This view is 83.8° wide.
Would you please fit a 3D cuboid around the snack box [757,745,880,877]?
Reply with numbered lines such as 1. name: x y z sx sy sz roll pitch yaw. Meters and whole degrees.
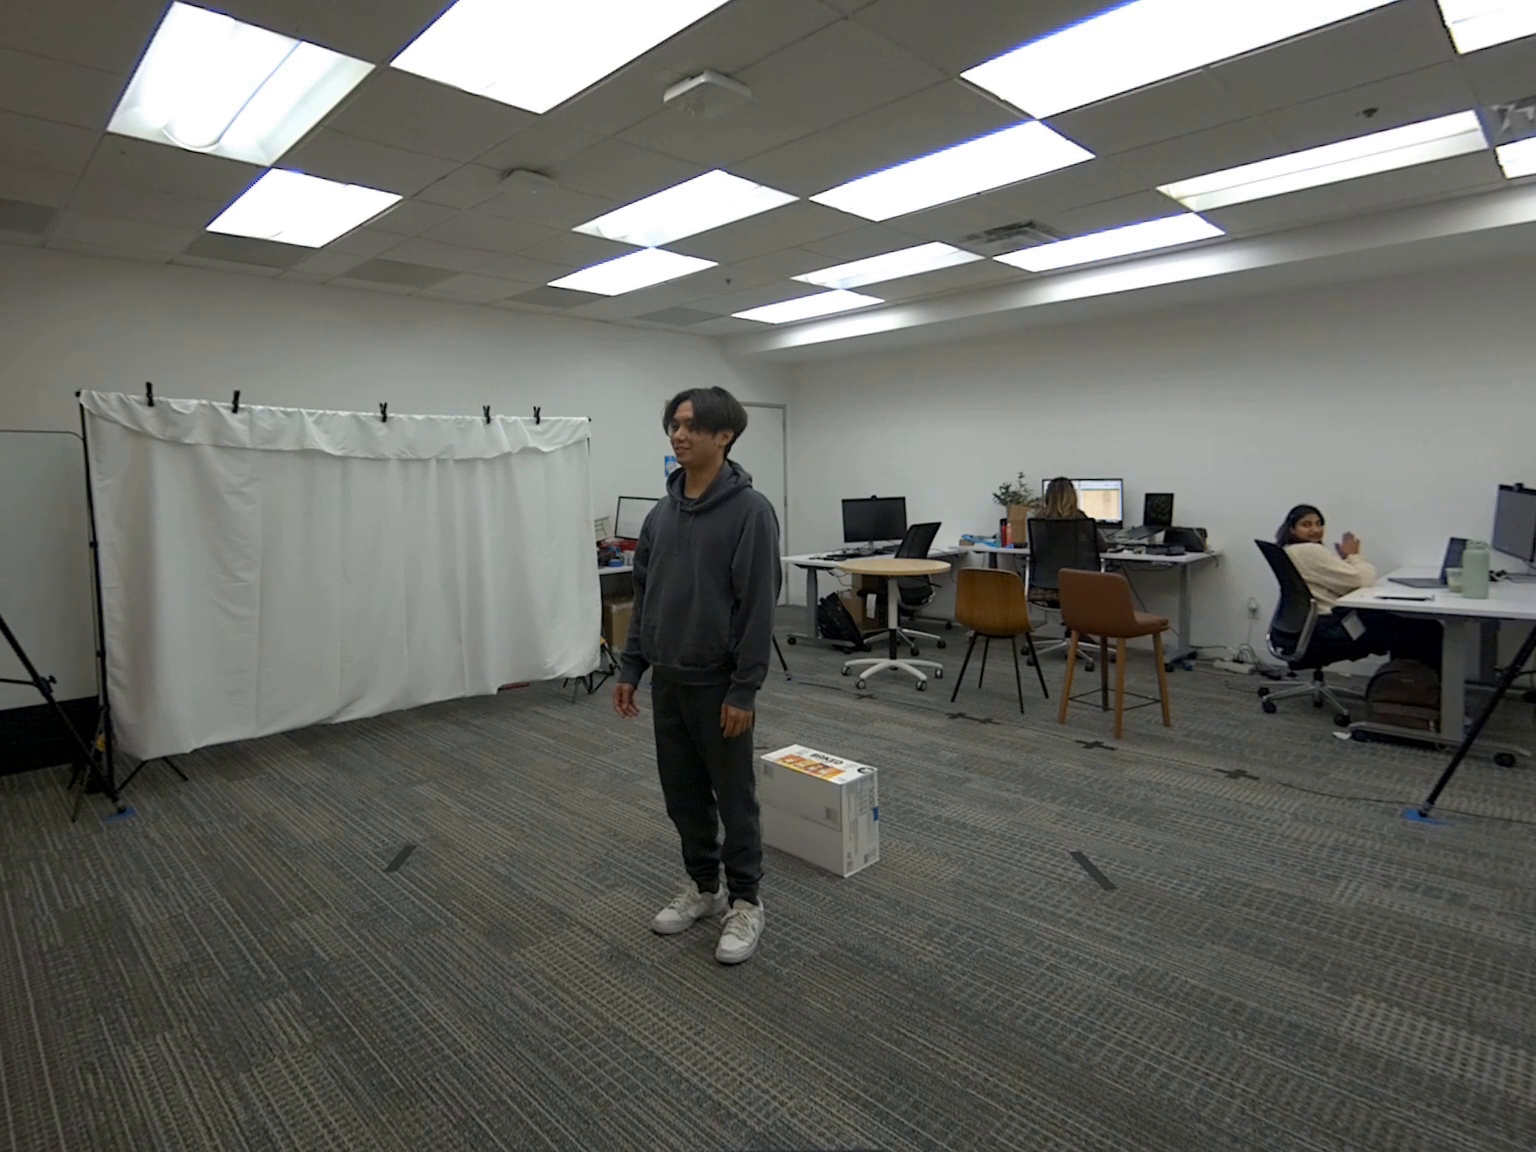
1. snack box: 0.191 0.862 3.179 0.200 0.339 0.418 -7 7 -43
